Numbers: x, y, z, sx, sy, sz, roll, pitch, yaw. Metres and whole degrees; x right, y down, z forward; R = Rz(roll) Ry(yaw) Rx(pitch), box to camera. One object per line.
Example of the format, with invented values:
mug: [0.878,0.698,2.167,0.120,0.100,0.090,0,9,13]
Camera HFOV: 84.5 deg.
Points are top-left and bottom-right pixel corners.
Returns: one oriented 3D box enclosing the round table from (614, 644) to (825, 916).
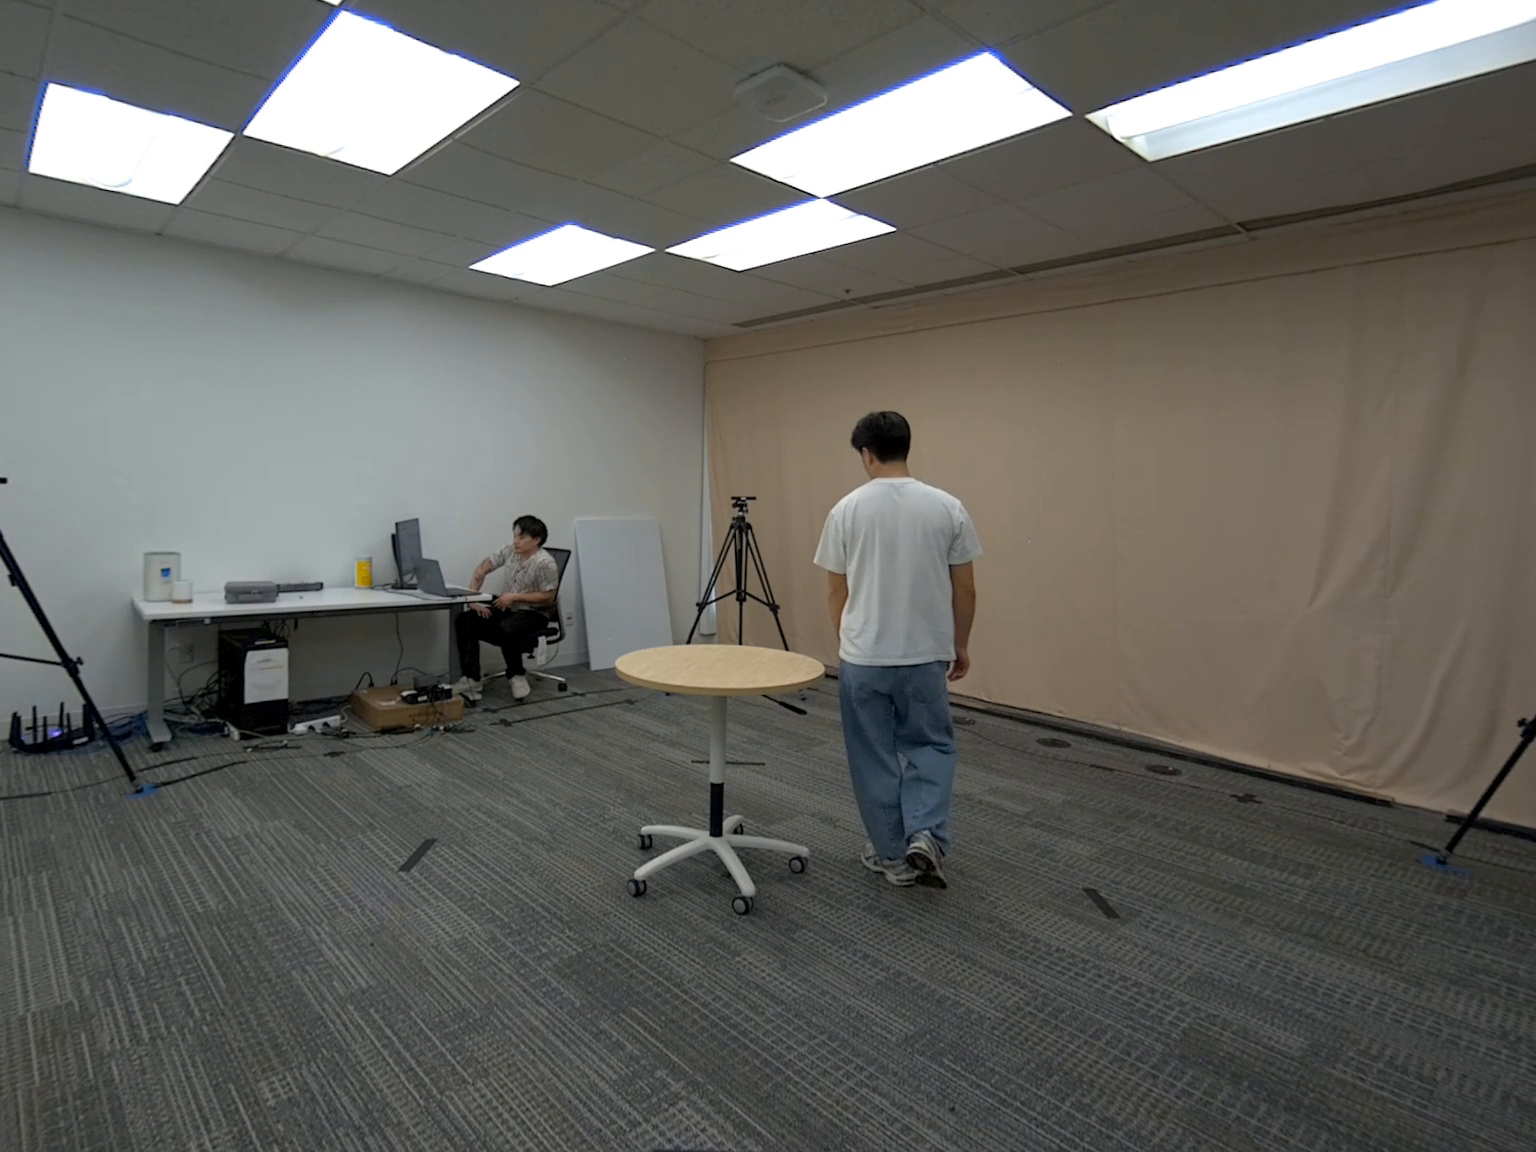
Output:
round table: [-0.189,0.713,3.106,0.763,0.792,0.767,1,4,-1]
